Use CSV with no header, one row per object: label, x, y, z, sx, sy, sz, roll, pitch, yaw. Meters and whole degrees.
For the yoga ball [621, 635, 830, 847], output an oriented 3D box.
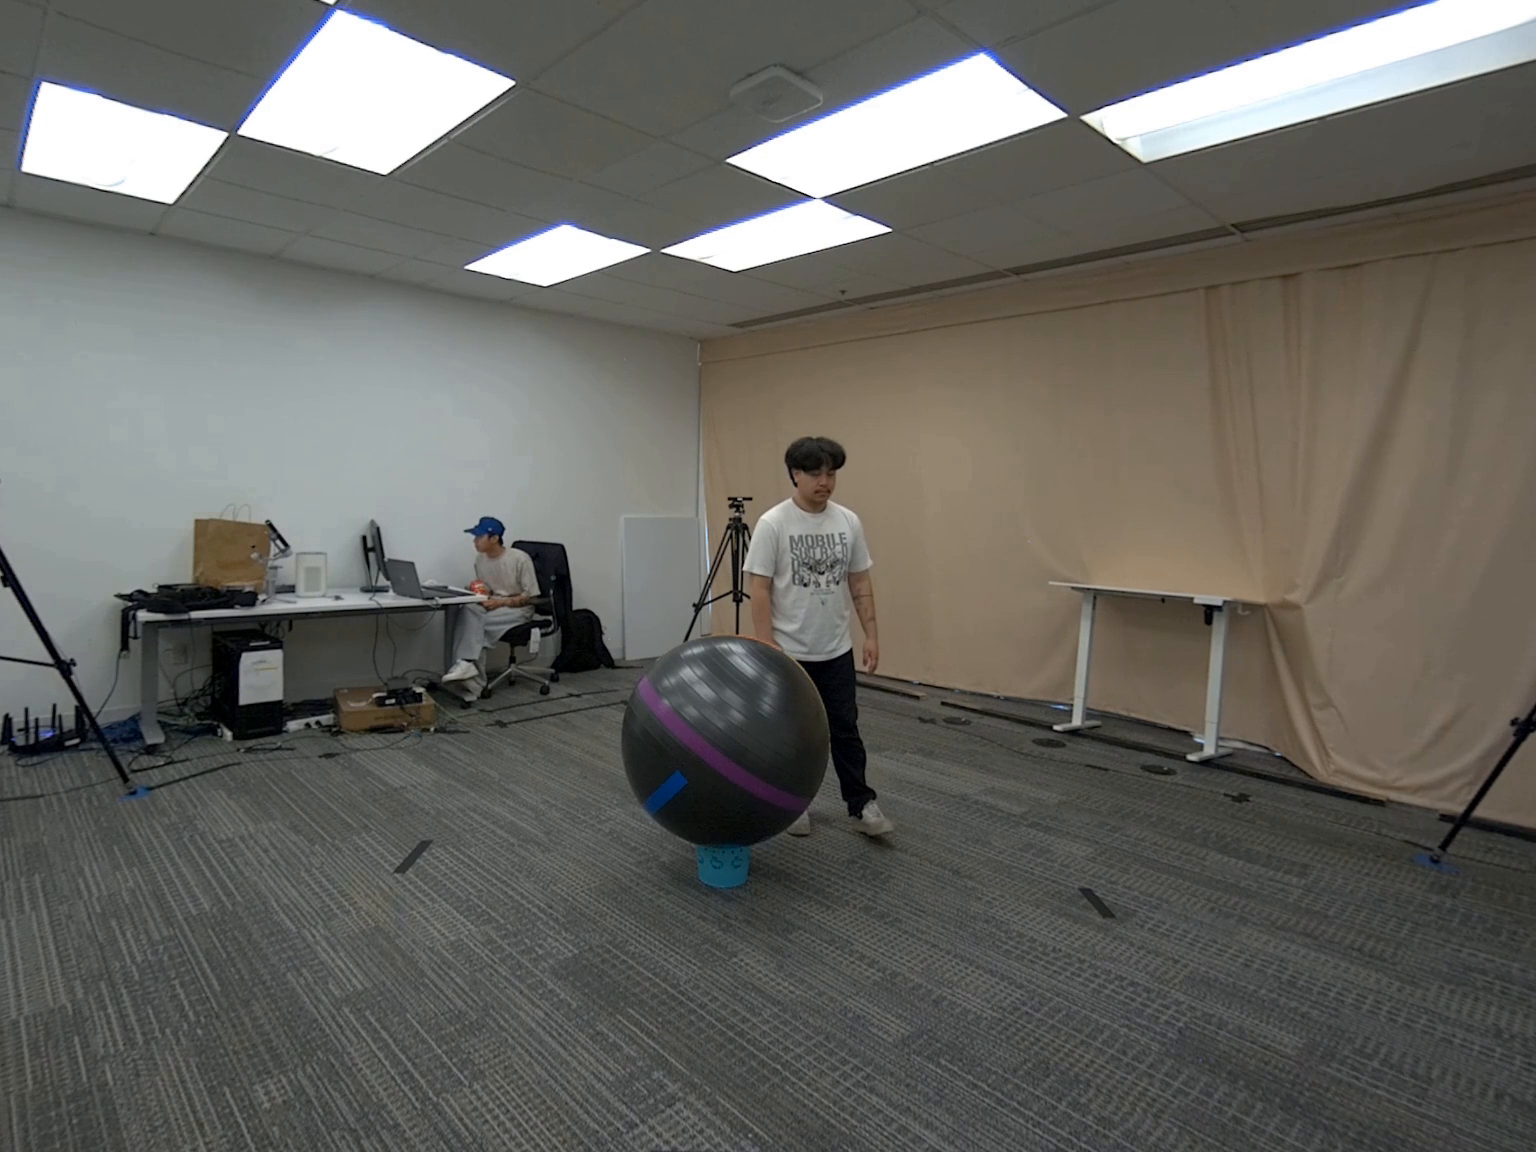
yoga ball,-0.161,0.598,3.085,0.757,0.756,0.761,1,4,-1
